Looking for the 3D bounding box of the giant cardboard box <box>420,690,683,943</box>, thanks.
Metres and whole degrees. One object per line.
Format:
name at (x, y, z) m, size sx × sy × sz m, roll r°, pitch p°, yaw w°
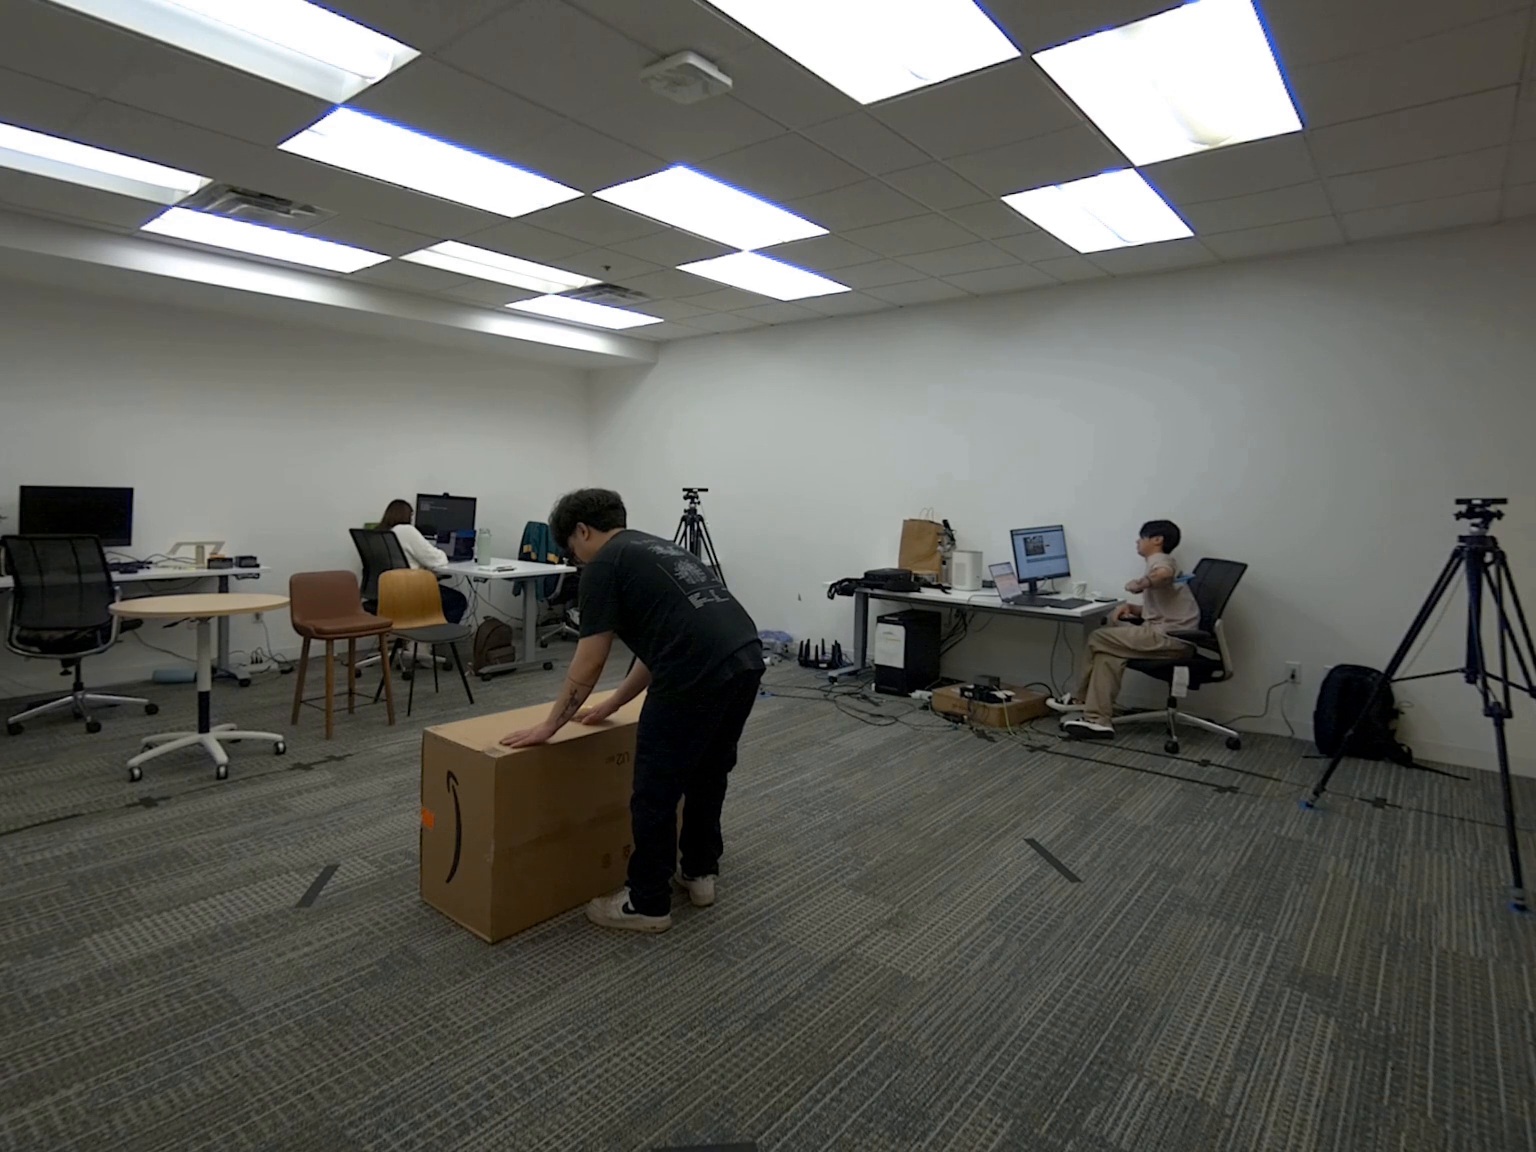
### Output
giant cardboard box at (-0.690, 0.780, 3.072) m, size 0.461 × 0.582 × 0.996 m, roll 3°, pitch 4°, yaw 39°
